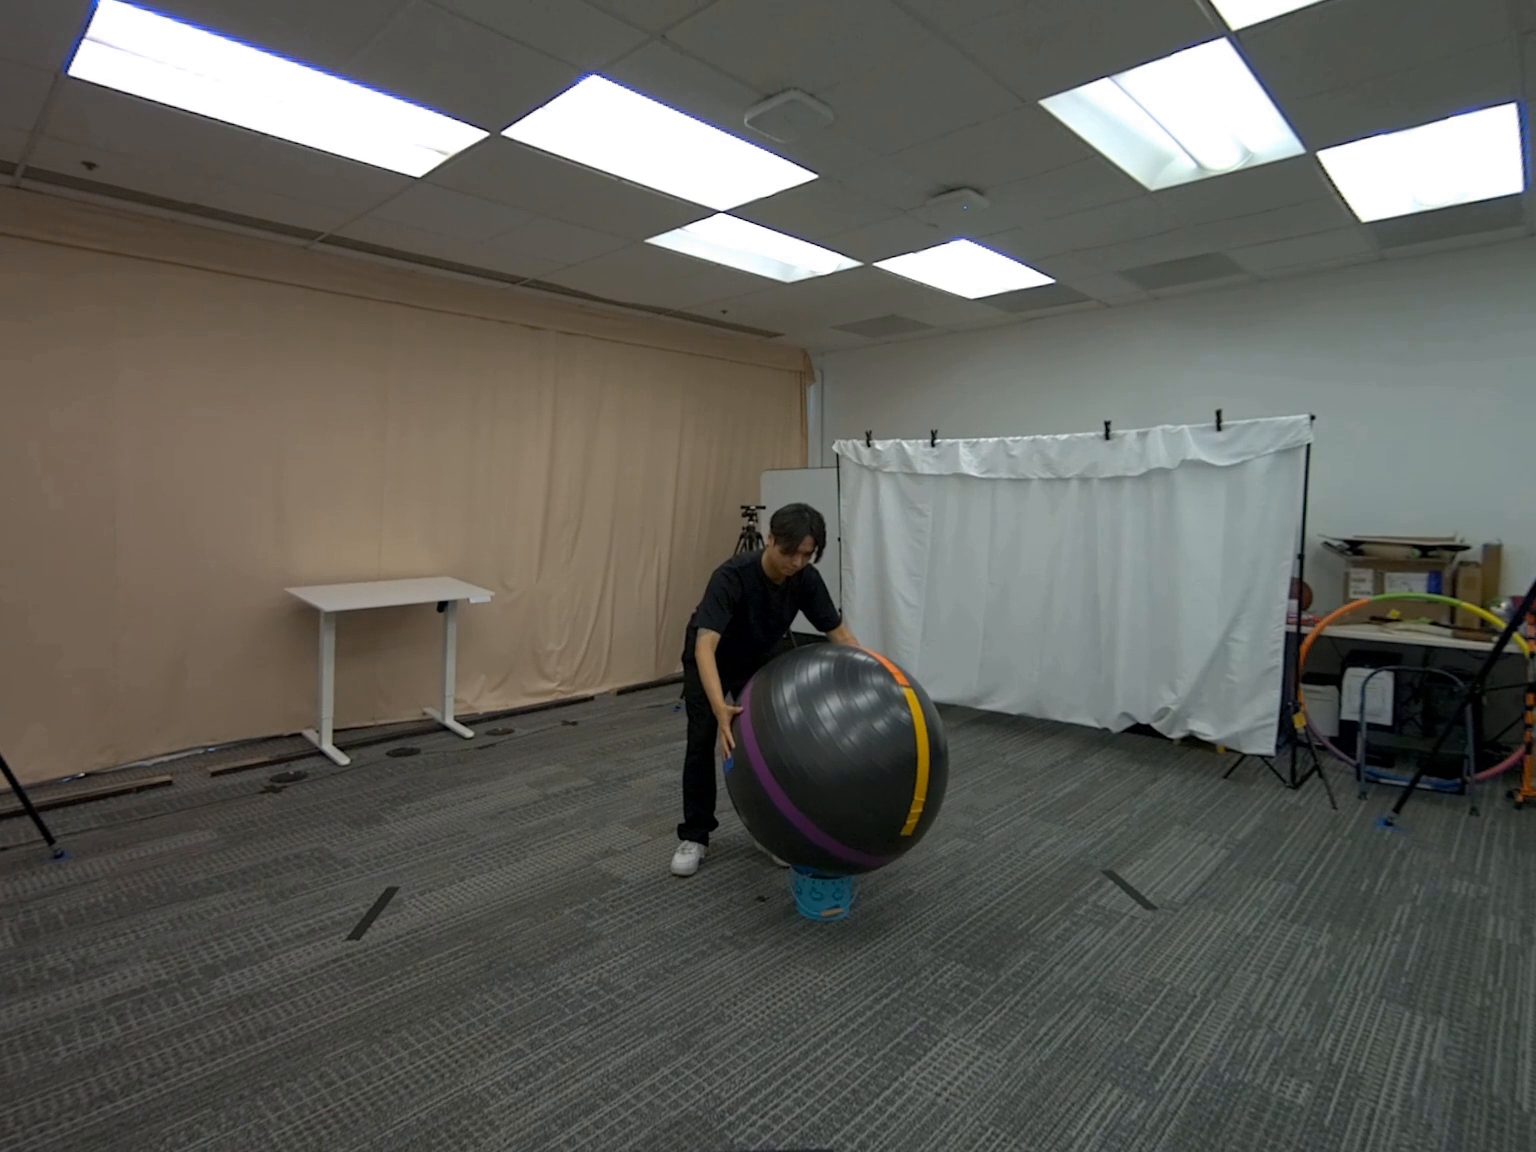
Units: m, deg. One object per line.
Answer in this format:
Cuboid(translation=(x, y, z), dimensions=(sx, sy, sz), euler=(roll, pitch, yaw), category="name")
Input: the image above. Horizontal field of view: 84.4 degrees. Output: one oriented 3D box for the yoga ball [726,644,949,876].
Cuboid(translation=(0.235, 0.616, 2.858), dimensions=(0.757, 0.756, 0.760), euler=(0, 4, -2), category="yoga ball")
